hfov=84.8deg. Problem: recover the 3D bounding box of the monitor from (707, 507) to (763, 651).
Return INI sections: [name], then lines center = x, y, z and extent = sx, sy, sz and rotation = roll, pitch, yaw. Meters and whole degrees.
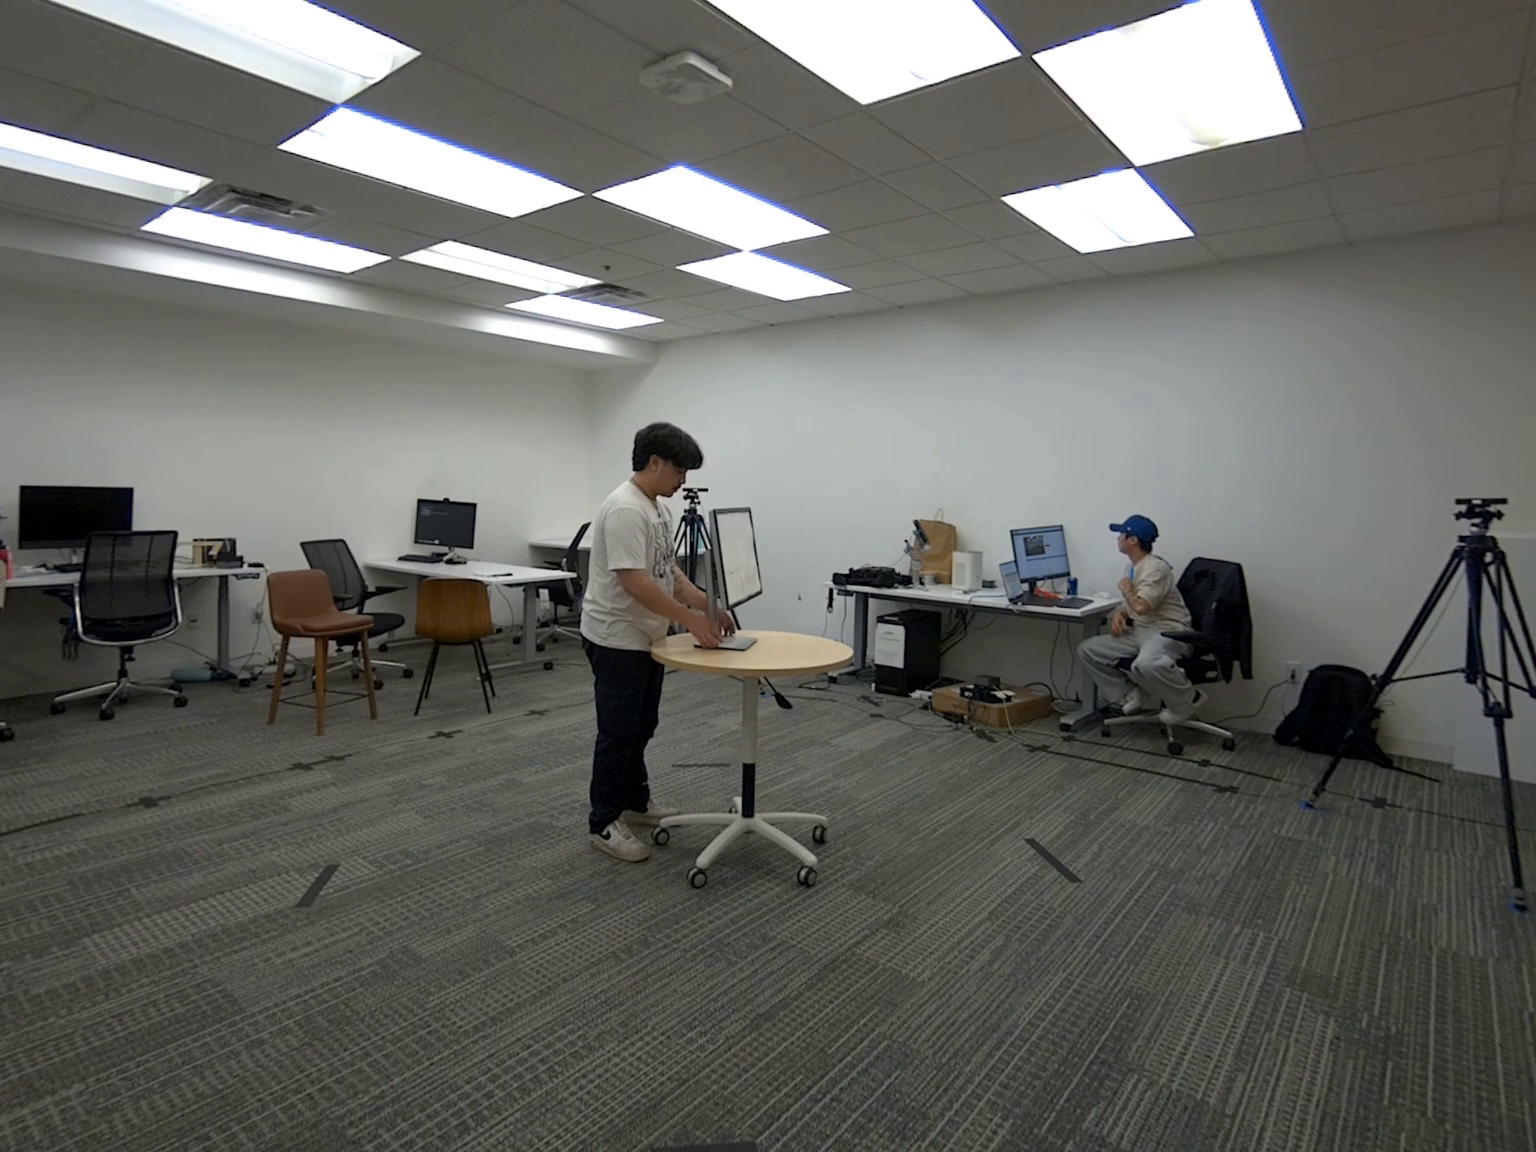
[monitor]
center = -0.192, 0.006, 3.302
extent = 0.213, 0.553, 0.558
rotation = -2, 3, 13
